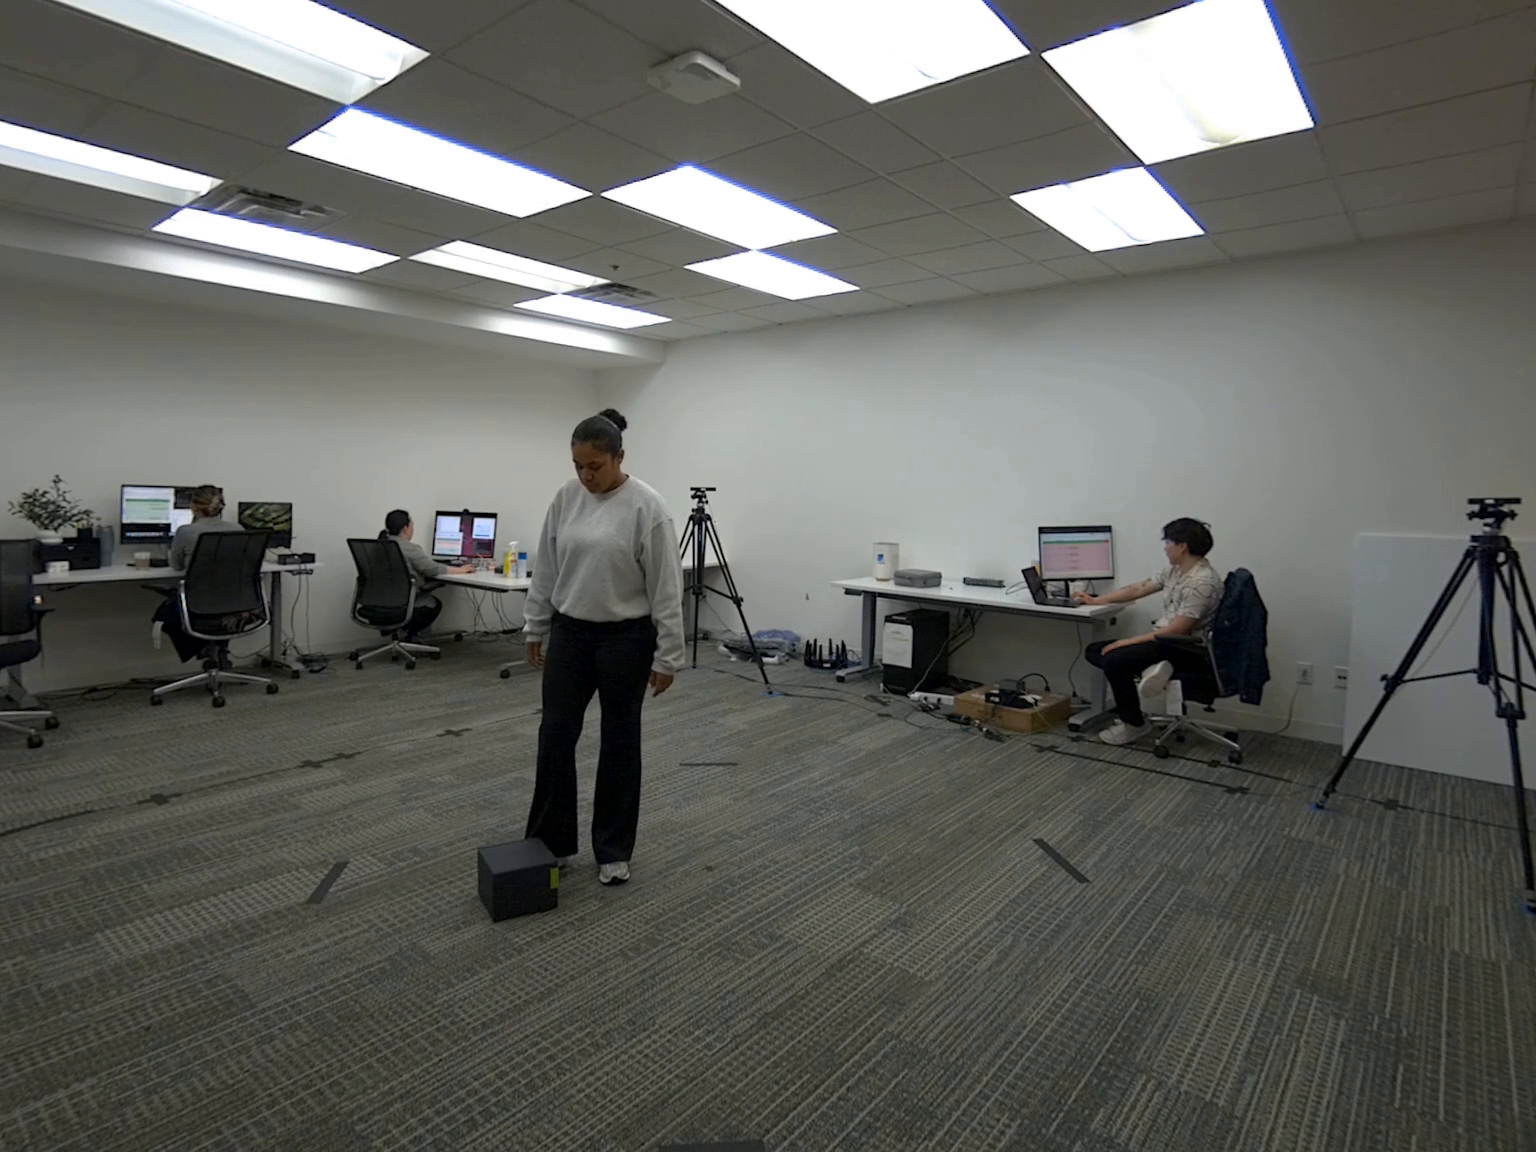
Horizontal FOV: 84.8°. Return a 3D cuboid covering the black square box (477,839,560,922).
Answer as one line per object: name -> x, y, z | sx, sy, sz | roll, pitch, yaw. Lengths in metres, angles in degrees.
black square box -> -0.839, 1.002, 2.815 | 0.211, 0.155, 0.235 | -2, 4, -30
